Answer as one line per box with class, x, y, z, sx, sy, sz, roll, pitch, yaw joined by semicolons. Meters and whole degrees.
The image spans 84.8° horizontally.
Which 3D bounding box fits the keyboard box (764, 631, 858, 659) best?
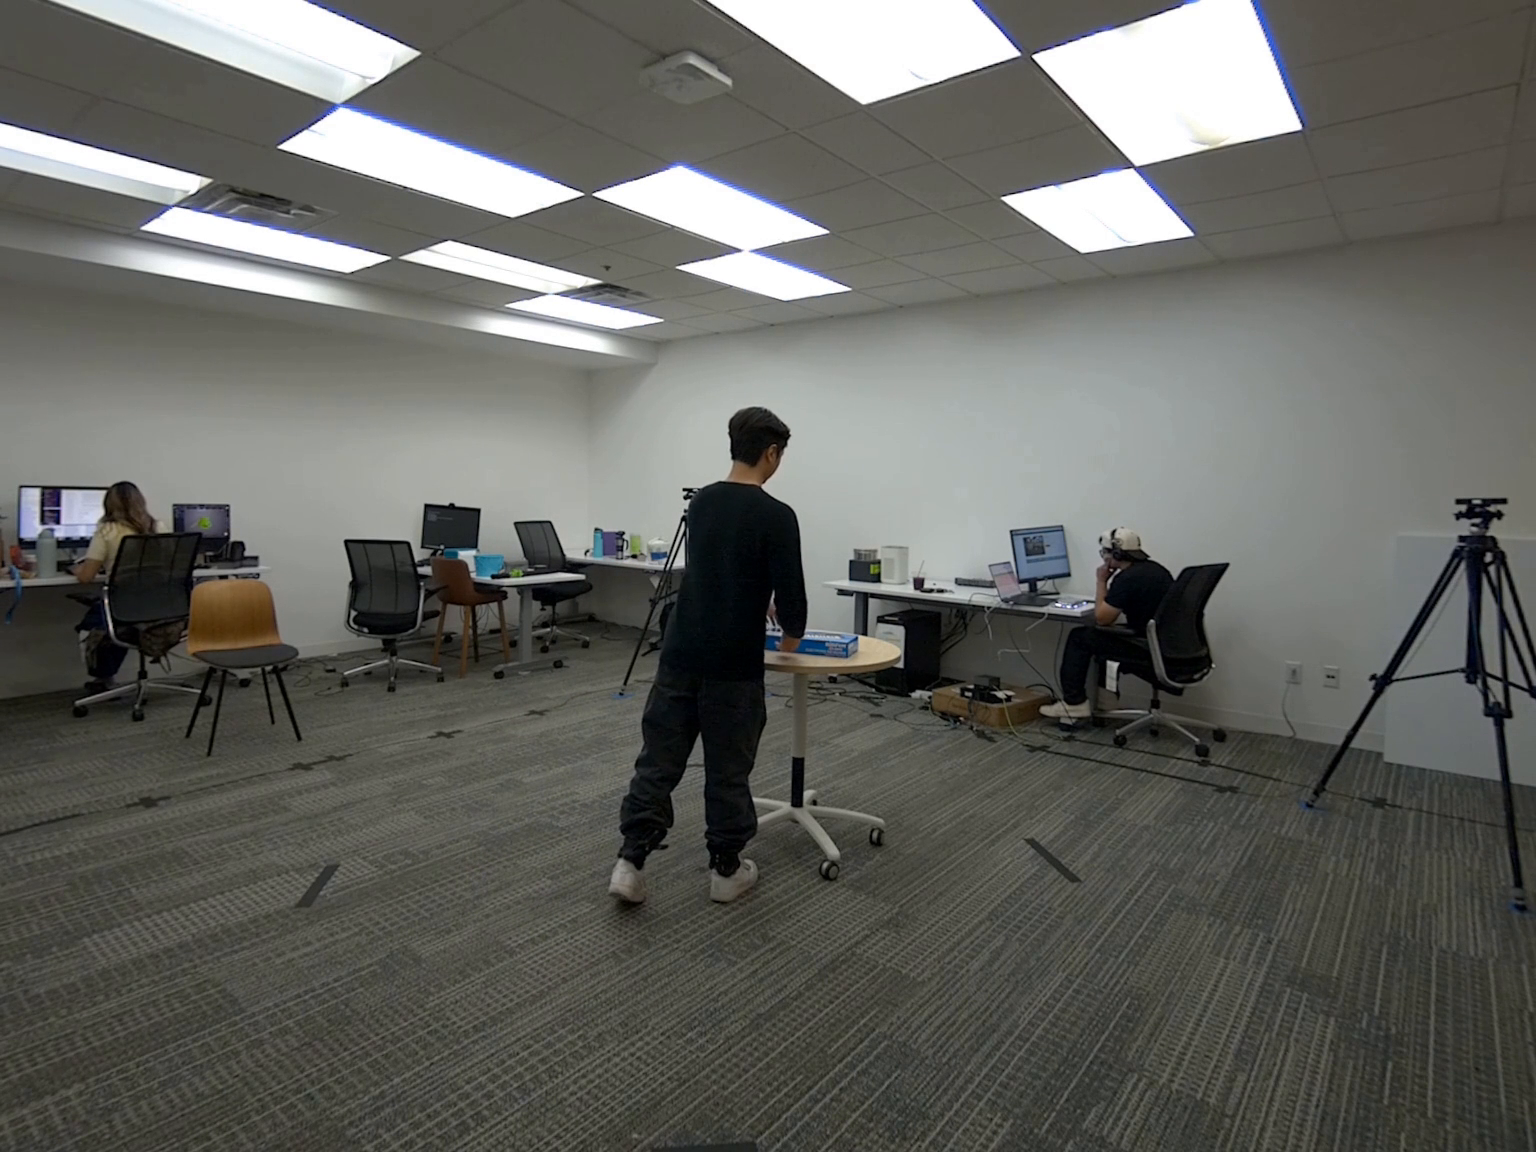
keyboard box;0.107;0.248;3.276;0.447;0.059;0.172;4;6;22
